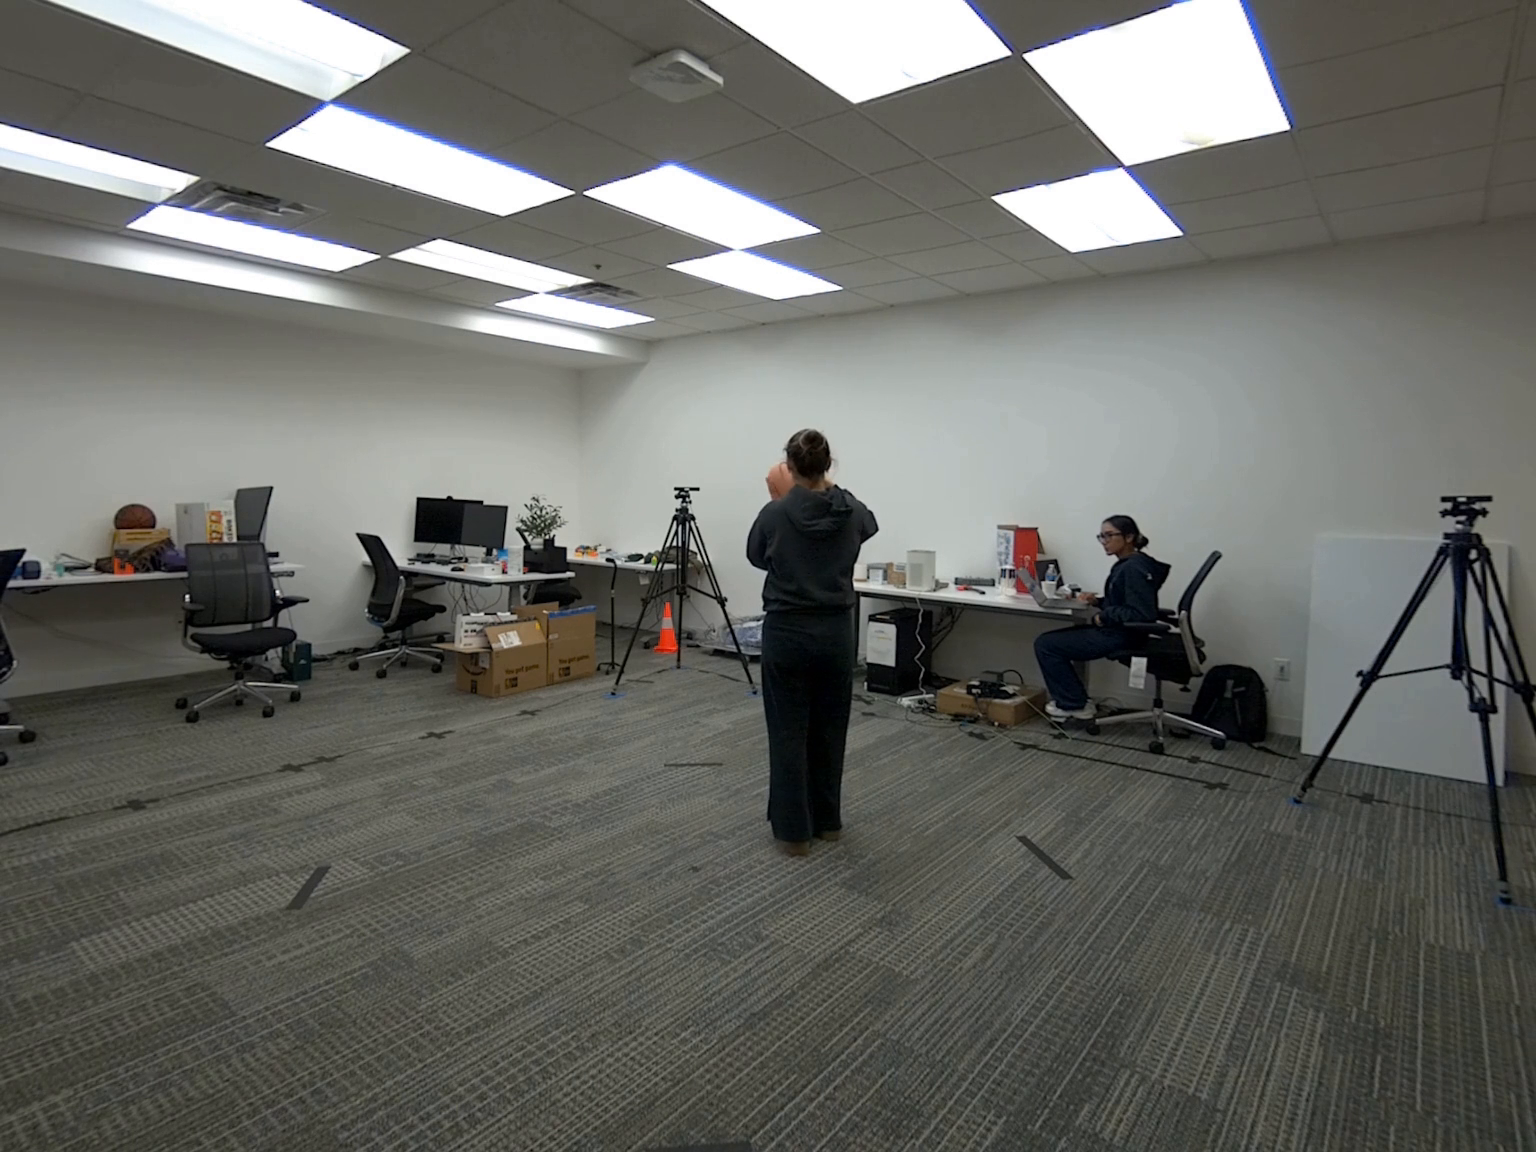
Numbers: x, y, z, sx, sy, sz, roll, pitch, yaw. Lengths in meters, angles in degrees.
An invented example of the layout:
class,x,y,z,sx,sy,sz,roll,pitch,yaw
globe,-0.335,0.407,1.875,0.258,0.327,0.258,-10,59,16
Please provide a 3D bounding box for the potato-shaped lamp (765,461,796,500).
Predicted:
class,x,y,z,sx,sy,sz,roll,pitch,yaw
potato-shaped lamp,0.092,-0.406,3.604,0.166,0.164,0.205,23,10,-29
